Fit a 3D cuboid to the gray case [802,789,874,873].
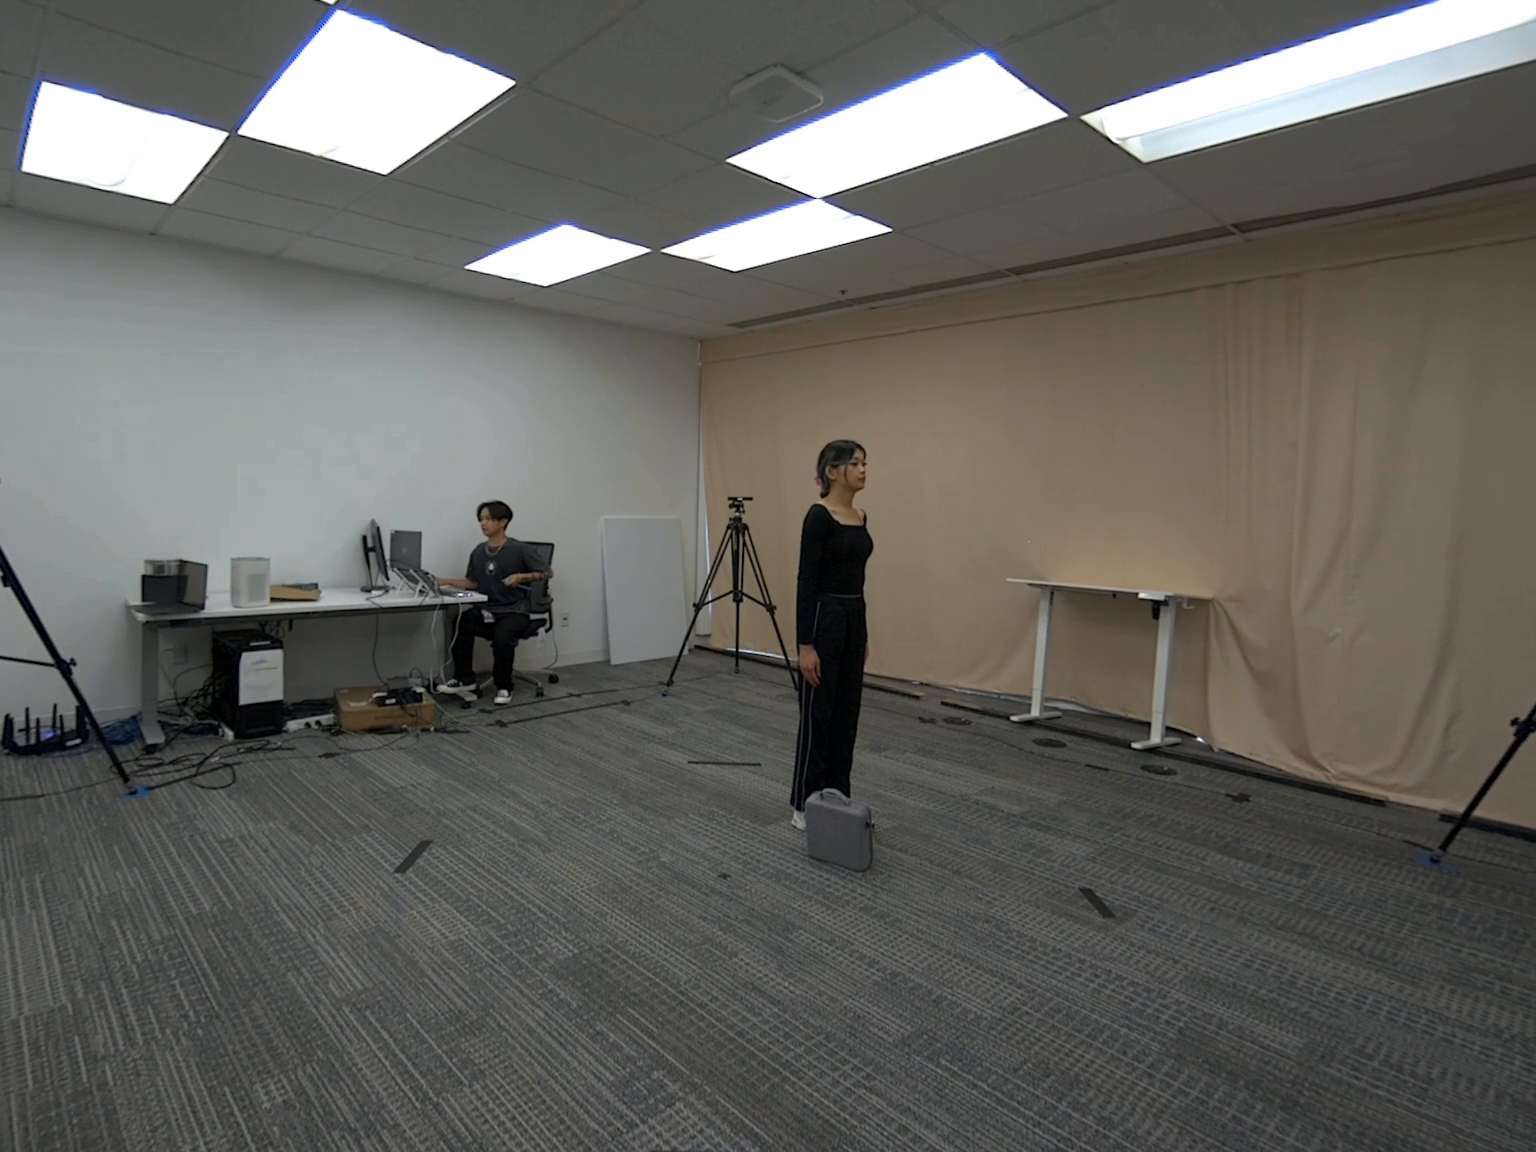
[{"bbox_3d":[0.263,0.976,3.232,0.263,0.258,0.103,3,14,34],"label":"gray case"}]
